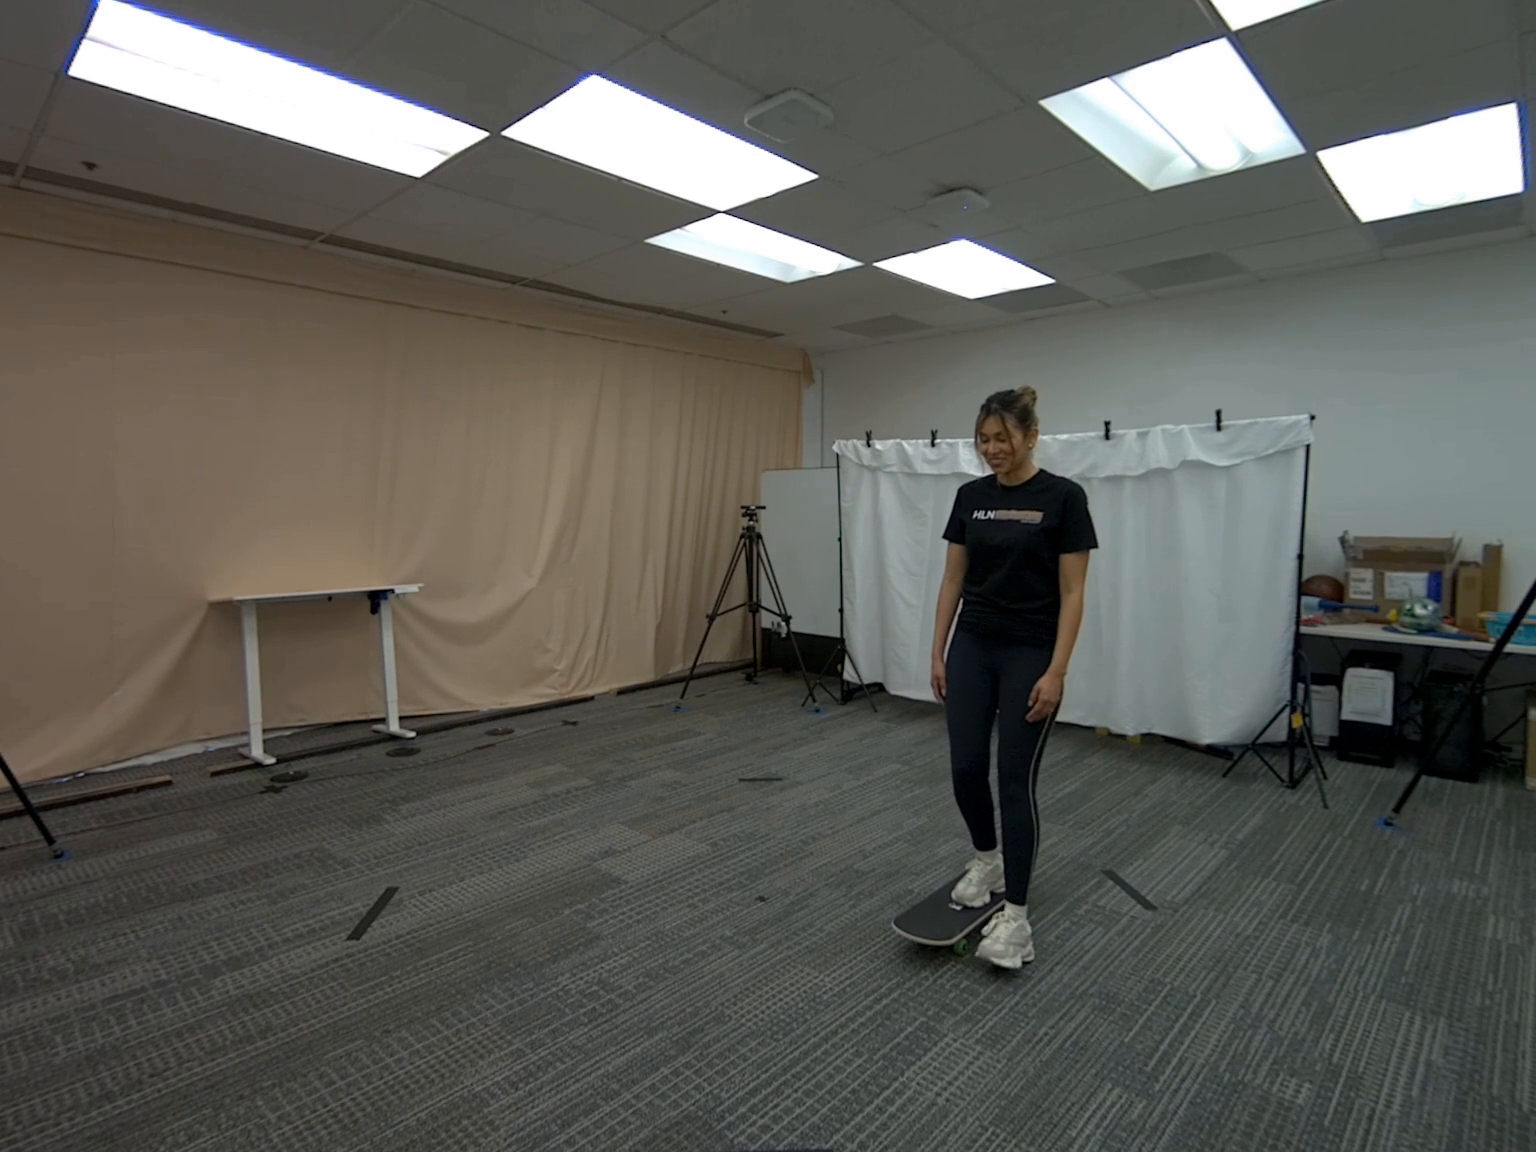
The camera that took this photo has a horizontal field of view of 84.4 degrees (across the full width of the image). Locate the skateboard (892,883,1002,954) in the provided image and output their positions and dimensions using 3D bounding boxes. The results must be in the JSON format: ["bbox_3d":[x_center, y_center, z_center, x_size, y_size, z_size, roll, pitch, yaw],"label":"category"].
[{"bbox_3d":[0.673,1.109,2.805,0.200,0.110,0.762,6,8,41],"label":"skateboard"}]
